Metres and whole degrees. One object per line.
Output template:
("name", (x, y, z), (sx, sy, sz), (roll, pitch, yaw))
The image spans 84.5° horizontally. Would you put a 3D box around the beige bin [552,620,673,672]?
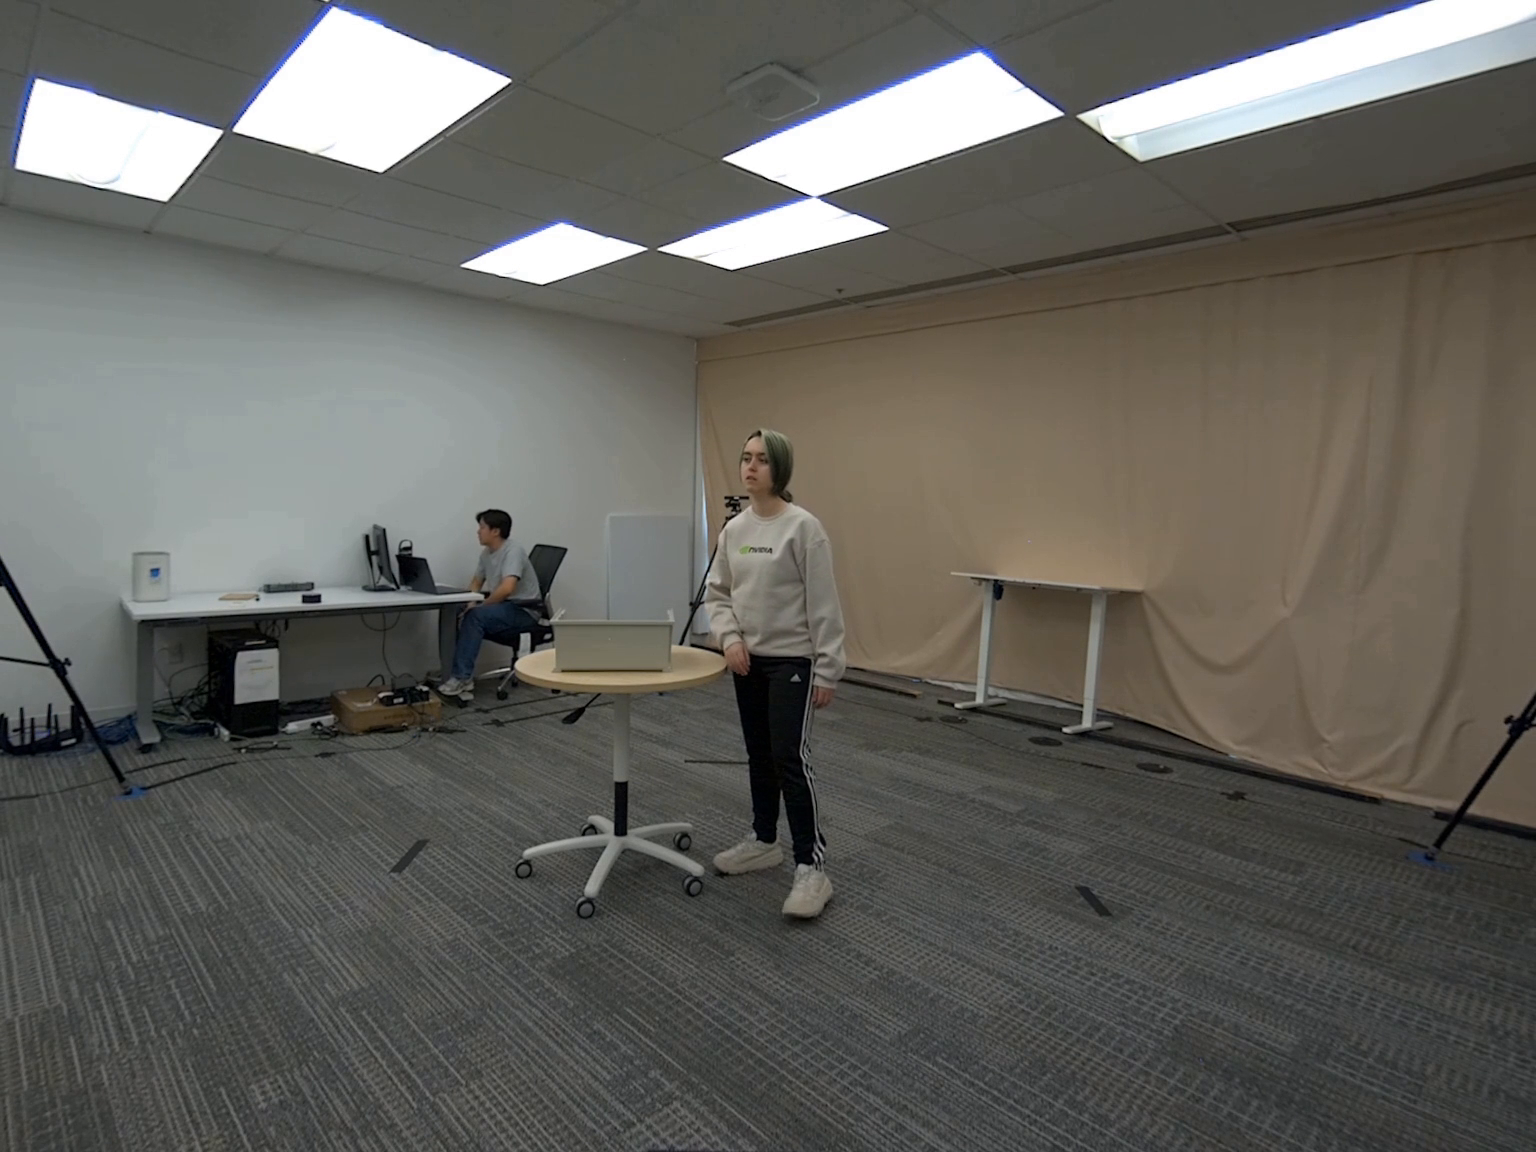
("beige bin", (-0.560, 0.232, 3.060), (0.421, 0.188, 0.380), (0, 4, -5))
